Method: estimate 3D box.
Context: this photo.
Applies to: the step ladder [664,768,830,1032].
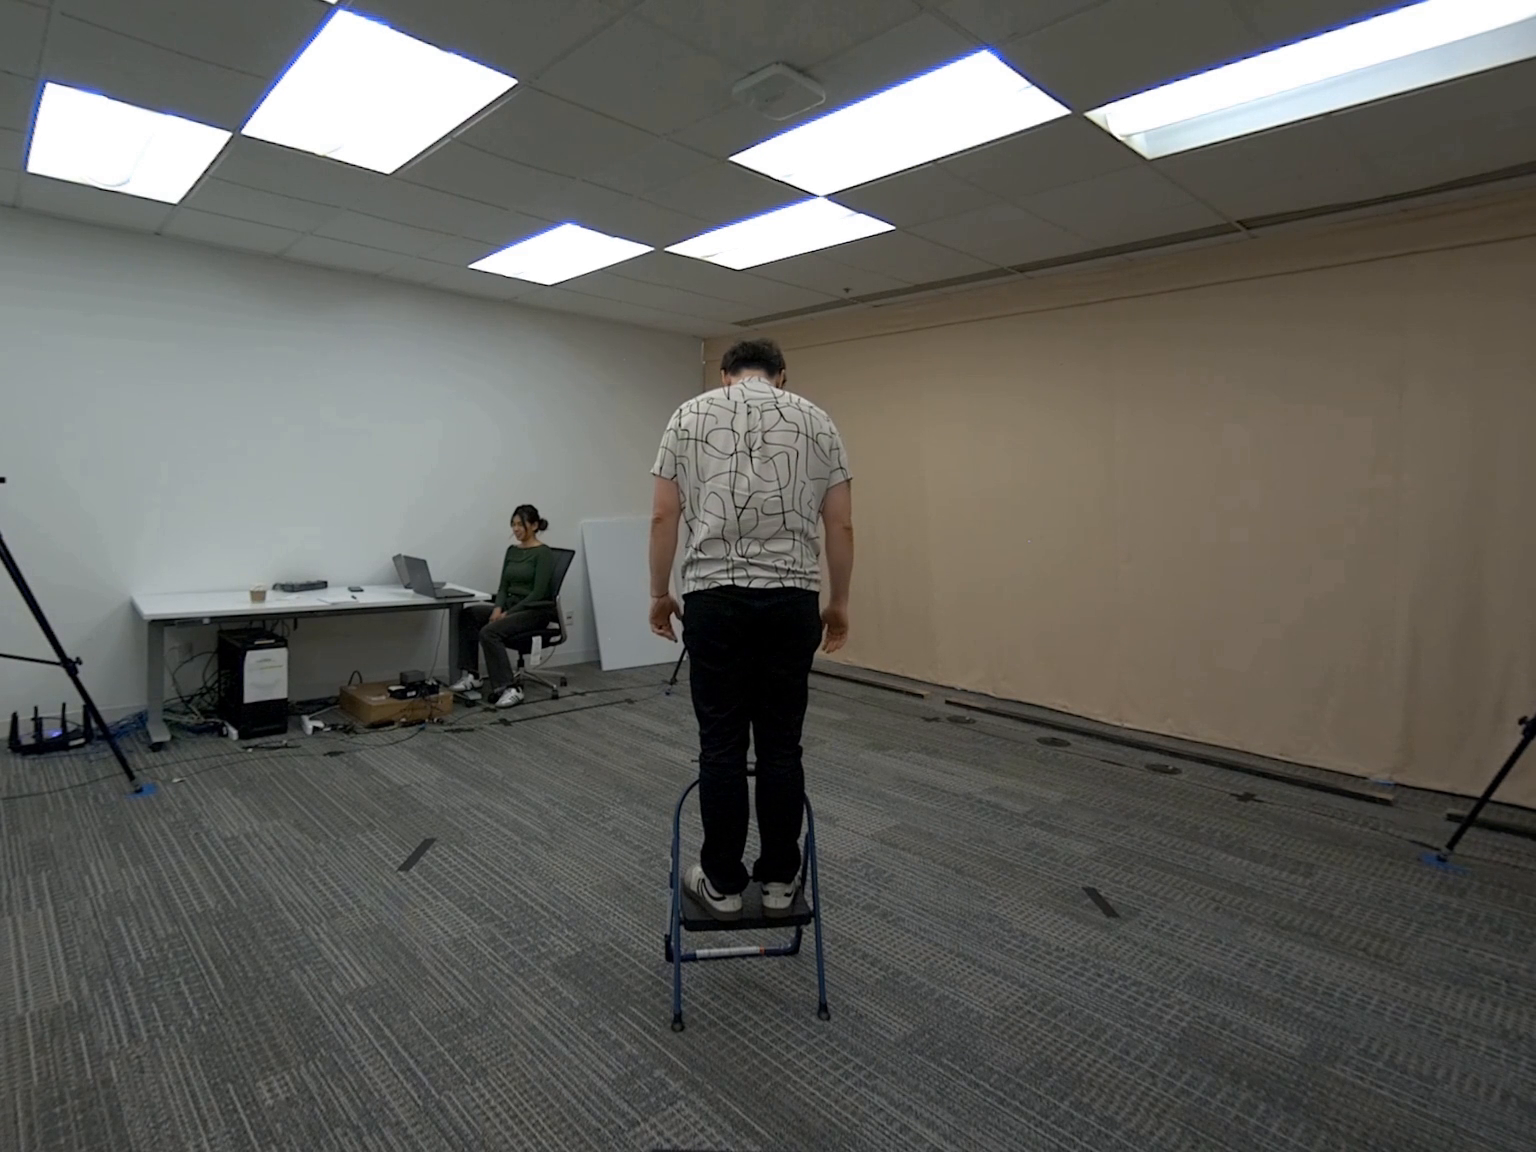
[{"bbox_3d":[-0.073,0.873,2.375,0.427,0.604,0.353,1,4,-11],"label":"step ladder"}]
